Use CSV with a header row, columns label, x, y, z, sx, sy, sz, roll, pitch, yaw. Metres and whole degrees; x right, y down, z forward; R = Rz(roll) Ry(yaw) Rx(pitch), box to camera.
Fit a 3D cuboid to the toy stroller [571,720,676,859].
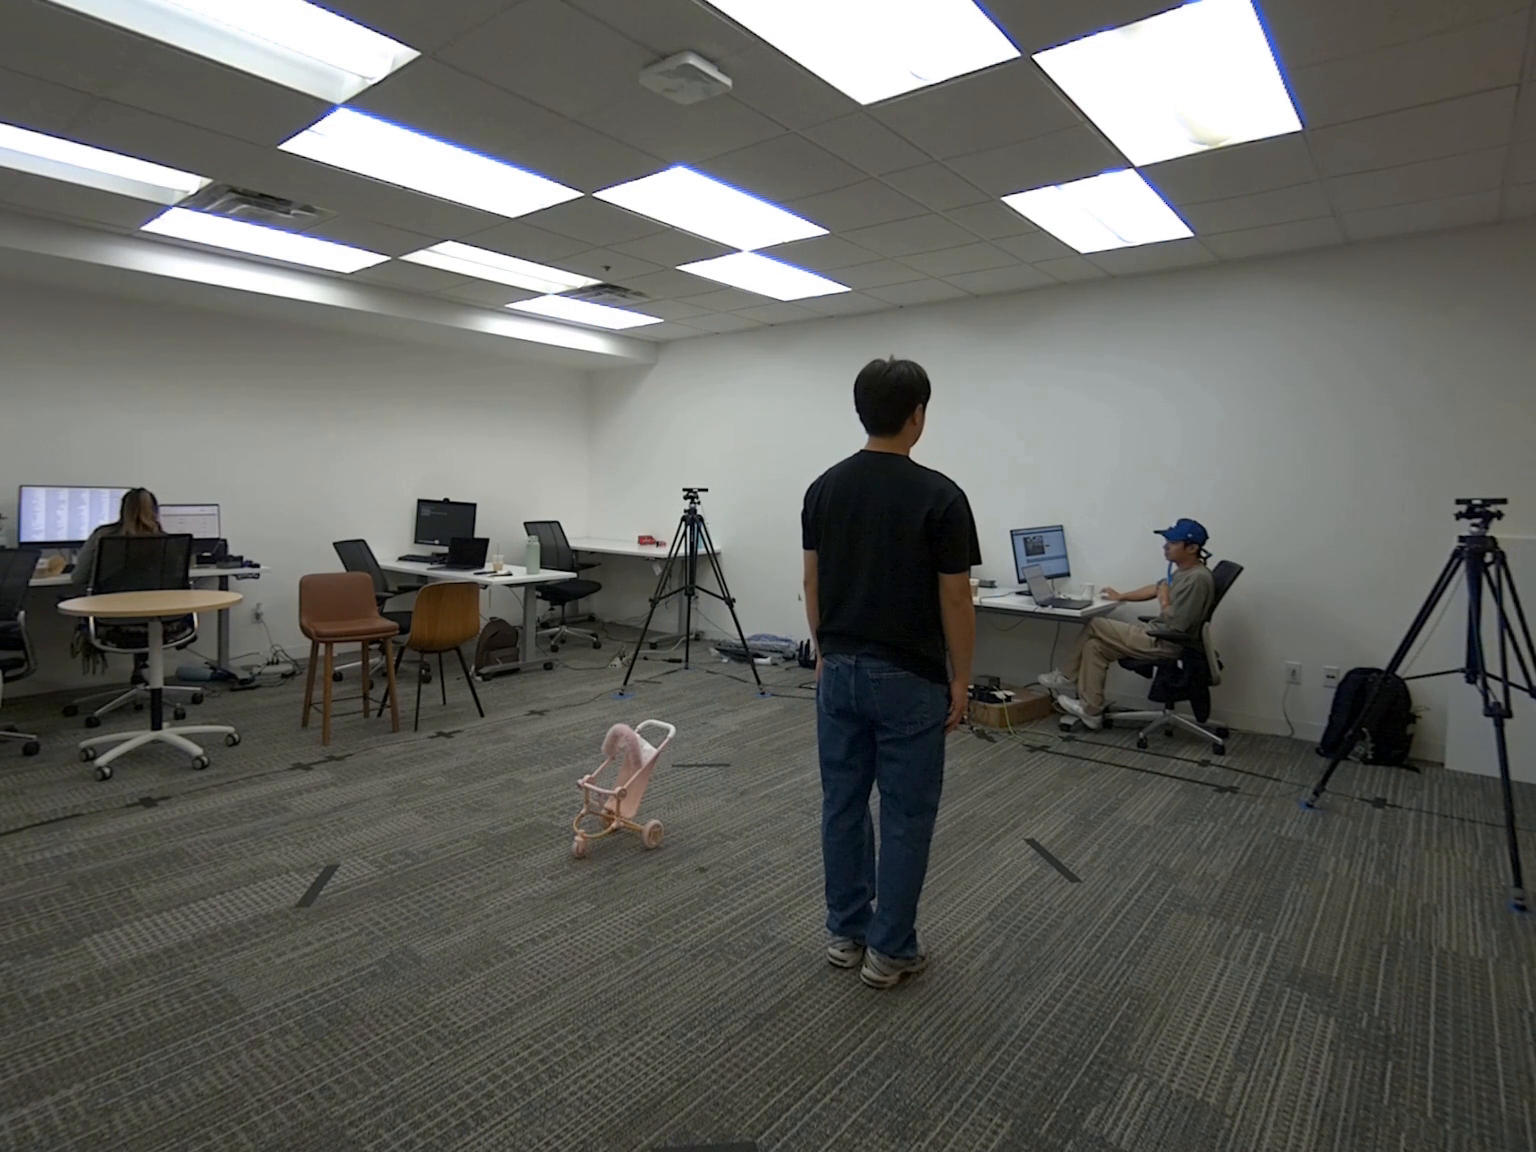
label,x,y,z,sx,sy,sz,roll,pitch,yaw
toy stroller,-0.594,0.817,3.317,0.291,0.538,0.328,4,-10,46
